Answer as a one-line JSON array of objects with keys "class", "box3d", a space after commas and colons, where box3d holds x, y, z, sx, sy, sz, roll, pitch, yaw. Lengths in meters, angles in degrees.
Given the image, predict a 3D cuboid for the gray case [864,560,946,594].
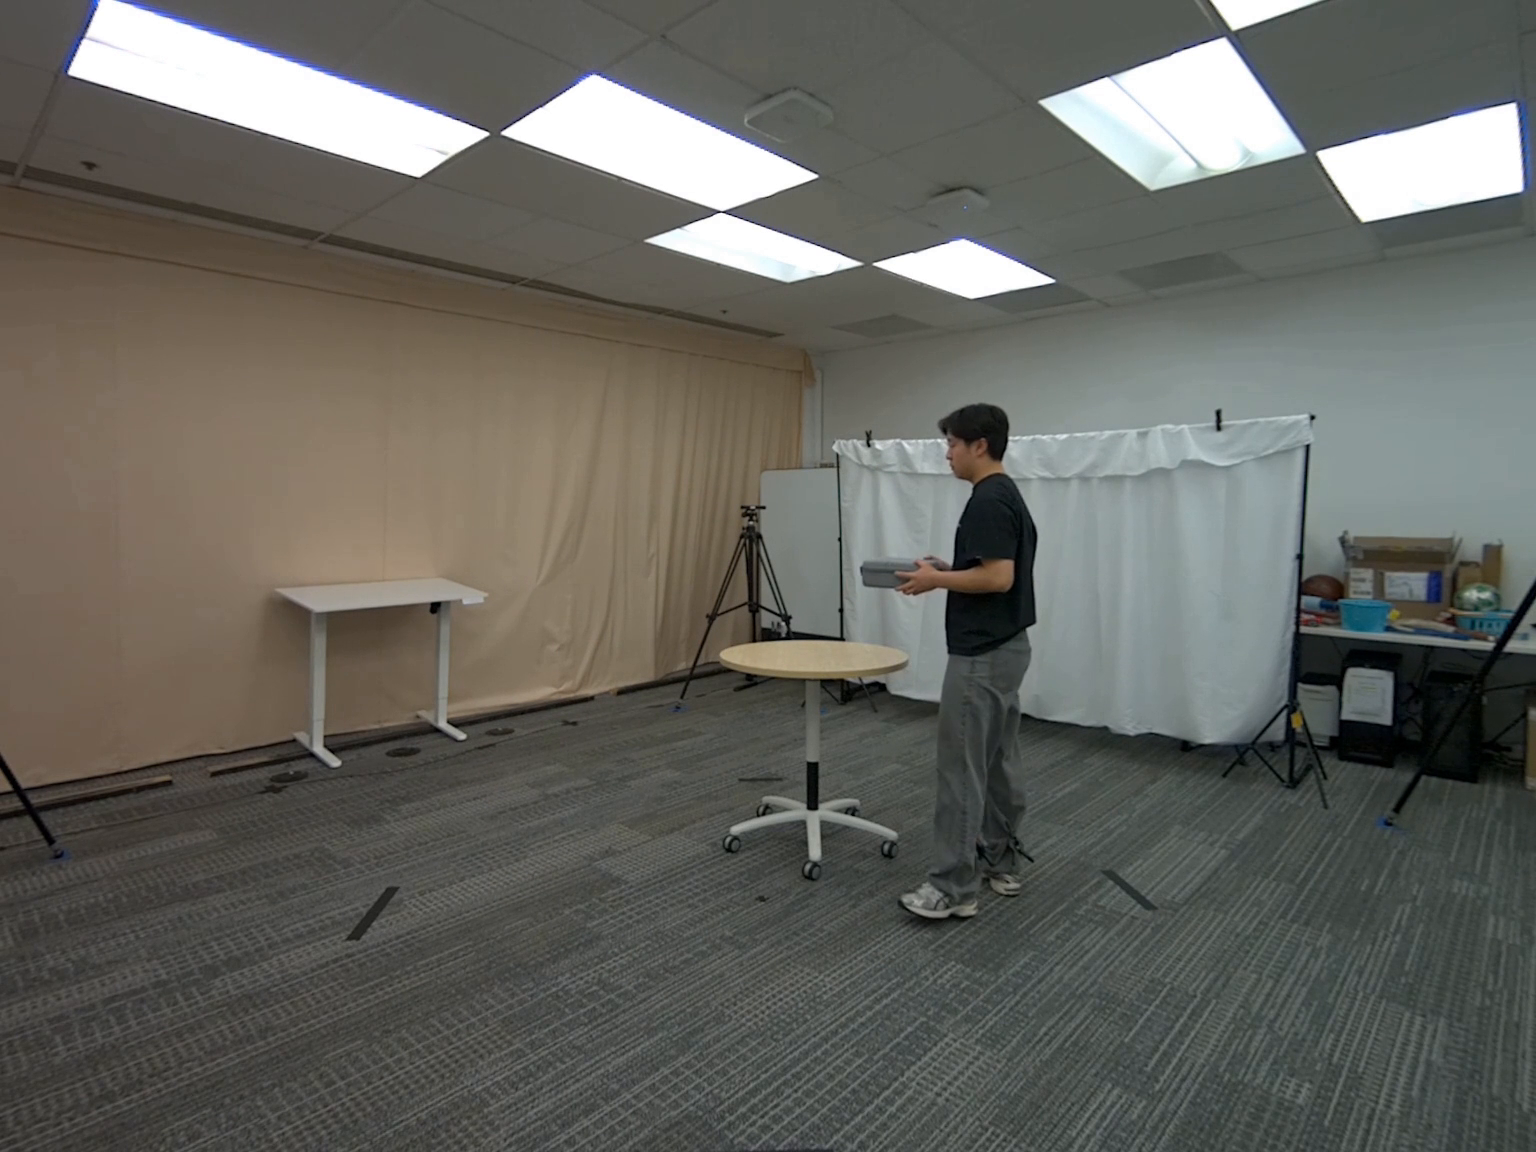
[{"class": "gray case", "box3d": [0.517, -0.001, 3.103, 0.293, 0.103, 0.258, 3, 2, 18]}]
